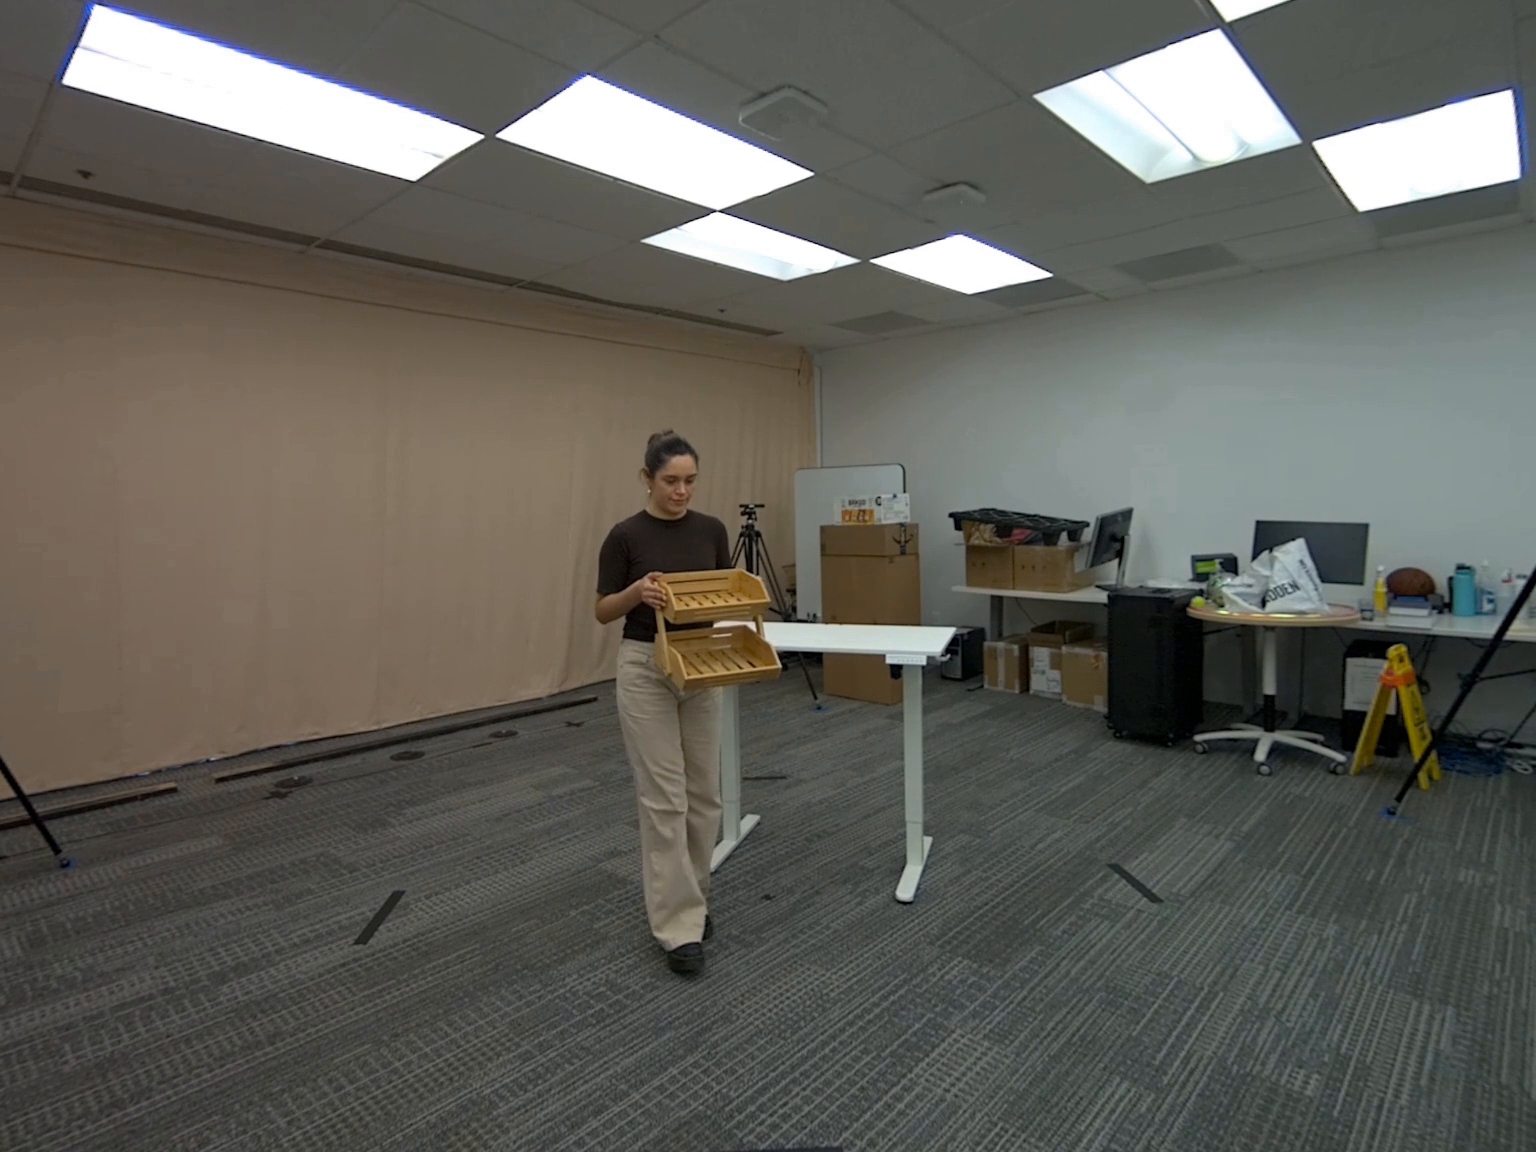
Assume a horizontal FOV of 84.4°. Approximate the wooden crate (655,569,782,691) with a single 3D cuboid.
[{"bbox_3d":[-0.152,0.149,2.474,0.317,0.271,0.311,-4,15,-26],"label":"wooden crate"}]
